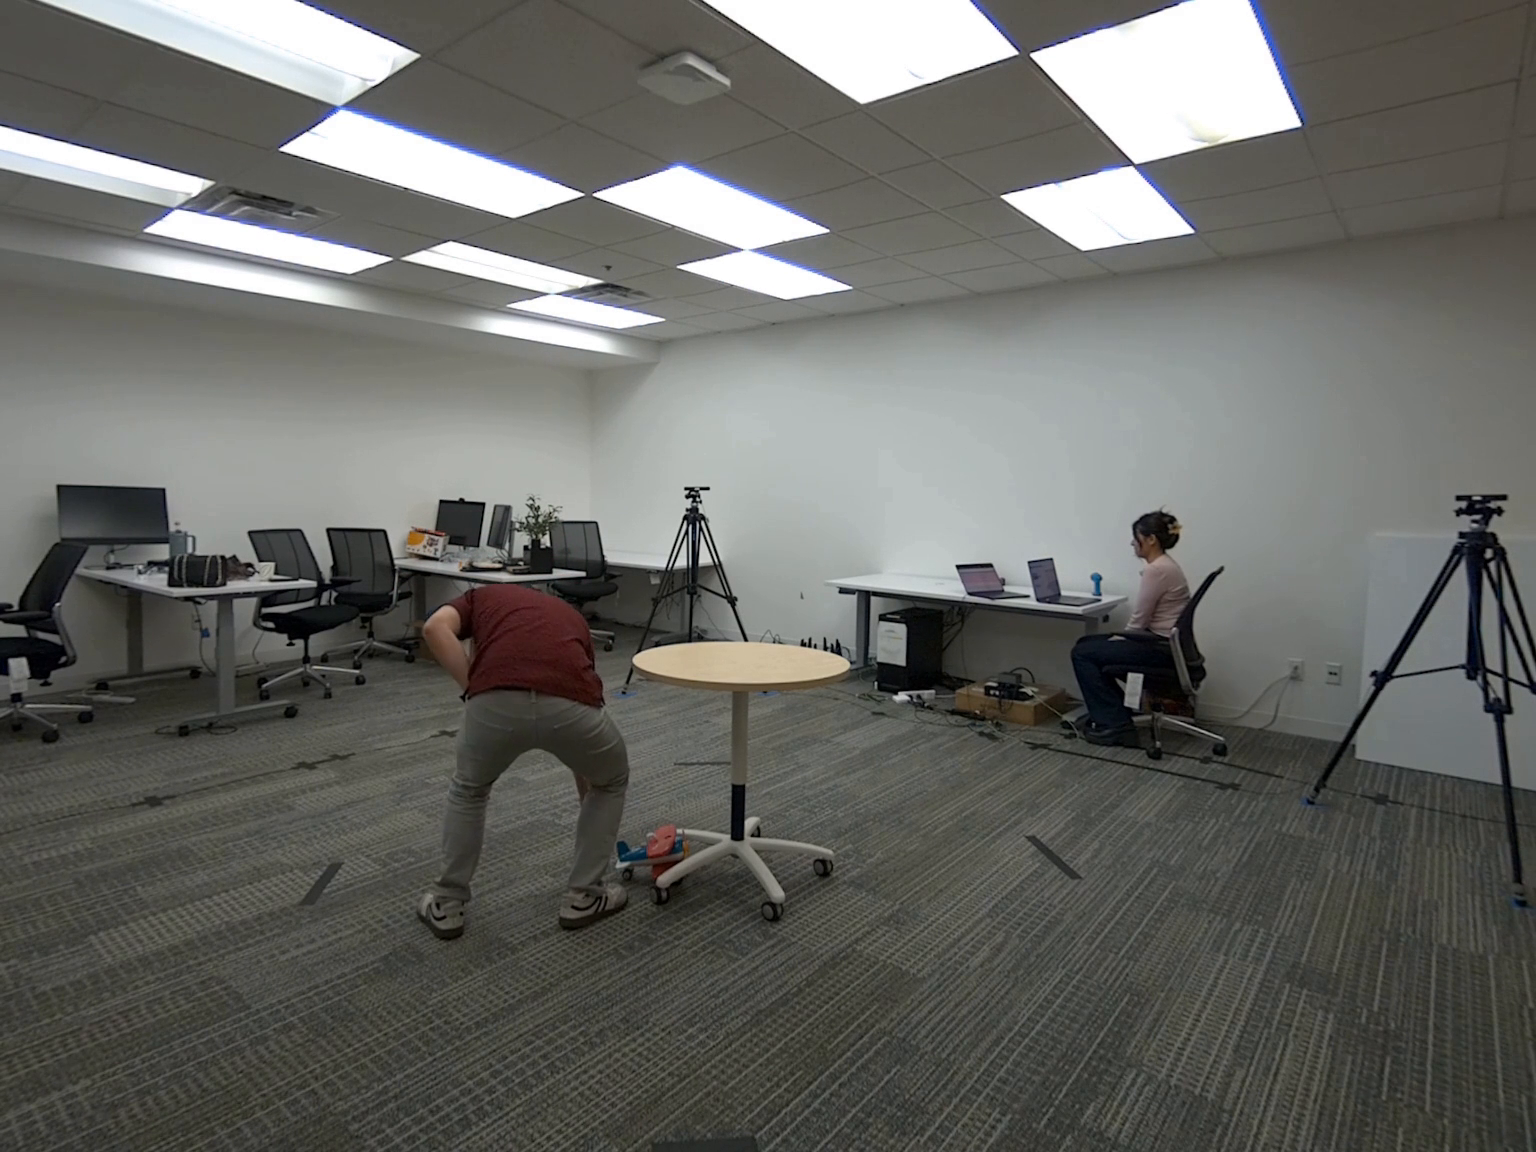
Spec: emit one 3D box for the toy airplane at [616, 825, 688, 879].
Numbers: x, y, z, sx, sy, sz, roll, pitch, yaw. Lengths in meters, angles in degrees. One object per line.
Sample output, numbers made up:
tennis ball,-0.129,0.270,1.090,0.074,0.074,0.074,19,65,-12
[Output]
toy airplane,-0.414,0.997,3.010,0.253,0.156,0.258,-1,4,-25
